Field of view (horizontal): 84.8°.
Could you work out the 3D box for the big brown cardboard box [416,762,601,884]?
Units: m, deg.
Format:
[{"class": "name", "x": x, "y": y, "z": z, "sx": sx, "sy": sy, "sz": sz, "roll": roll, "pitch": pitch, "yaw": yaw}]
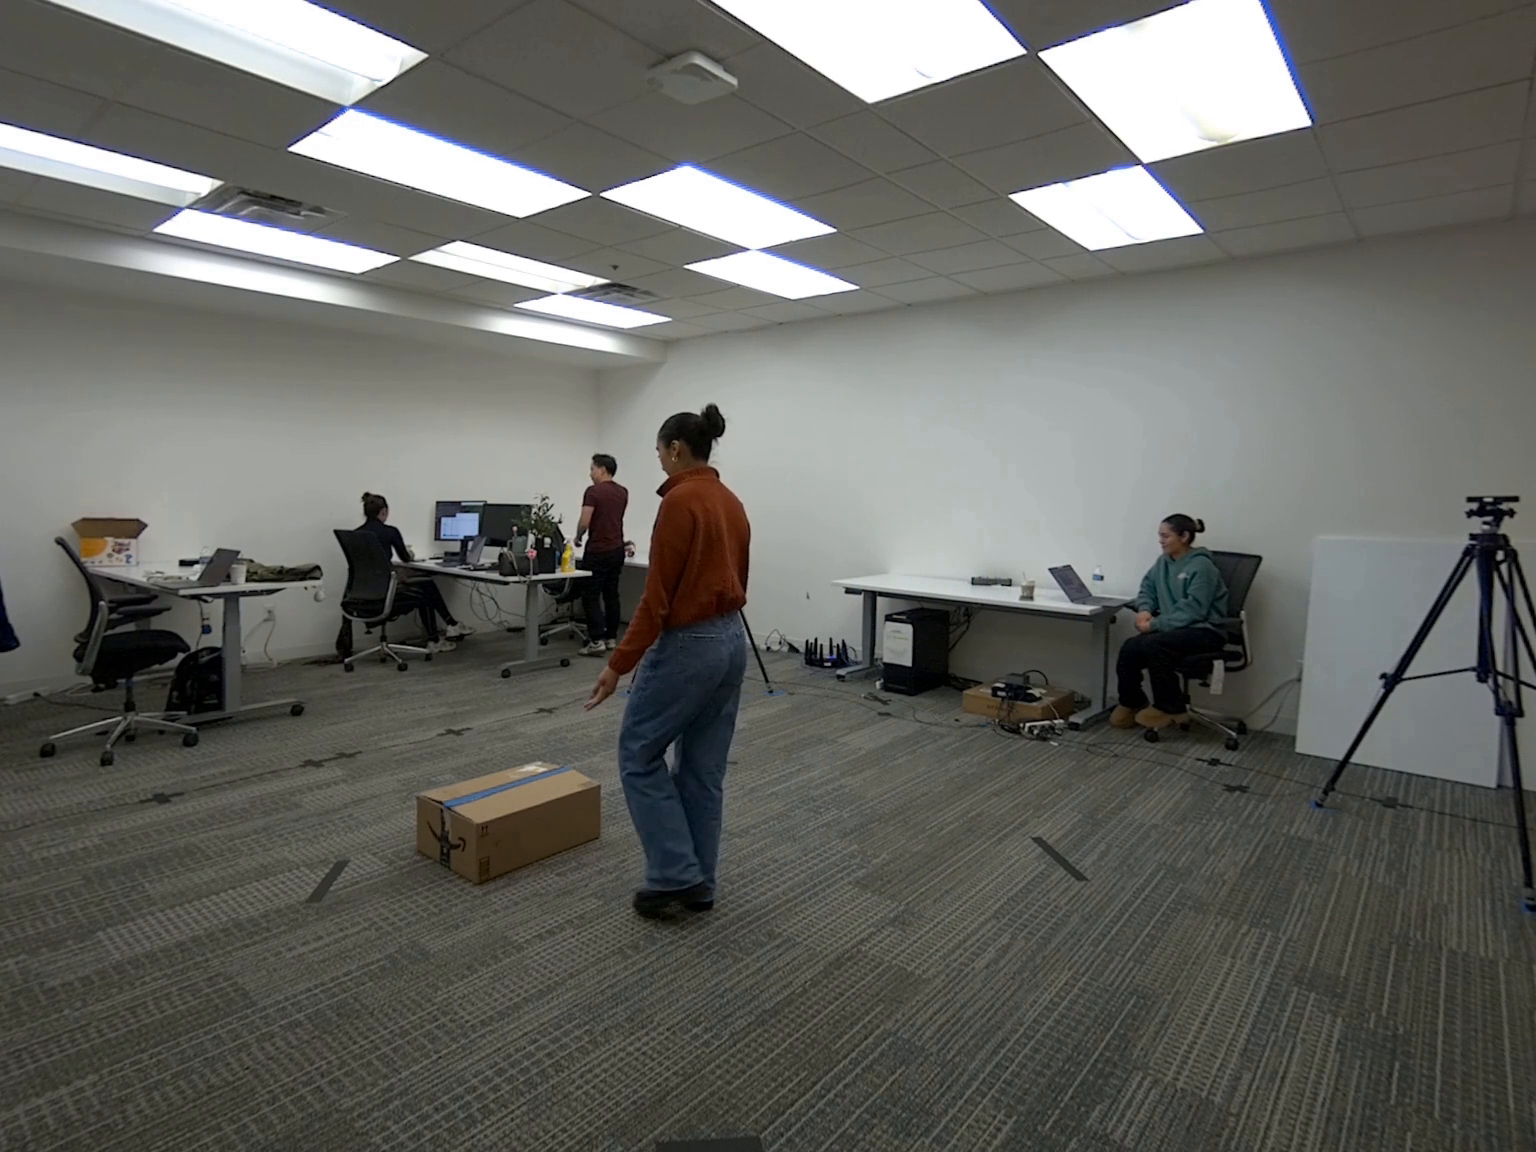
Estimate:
[{"class": "big brown cardboard box", "x": -1.005, "y": 0.924, "z": 3.288, "sx": 0.432, "sy": 0.232, "sz": 0.572, "roll": 5, "pitch": 8, "yaw": 39}]
